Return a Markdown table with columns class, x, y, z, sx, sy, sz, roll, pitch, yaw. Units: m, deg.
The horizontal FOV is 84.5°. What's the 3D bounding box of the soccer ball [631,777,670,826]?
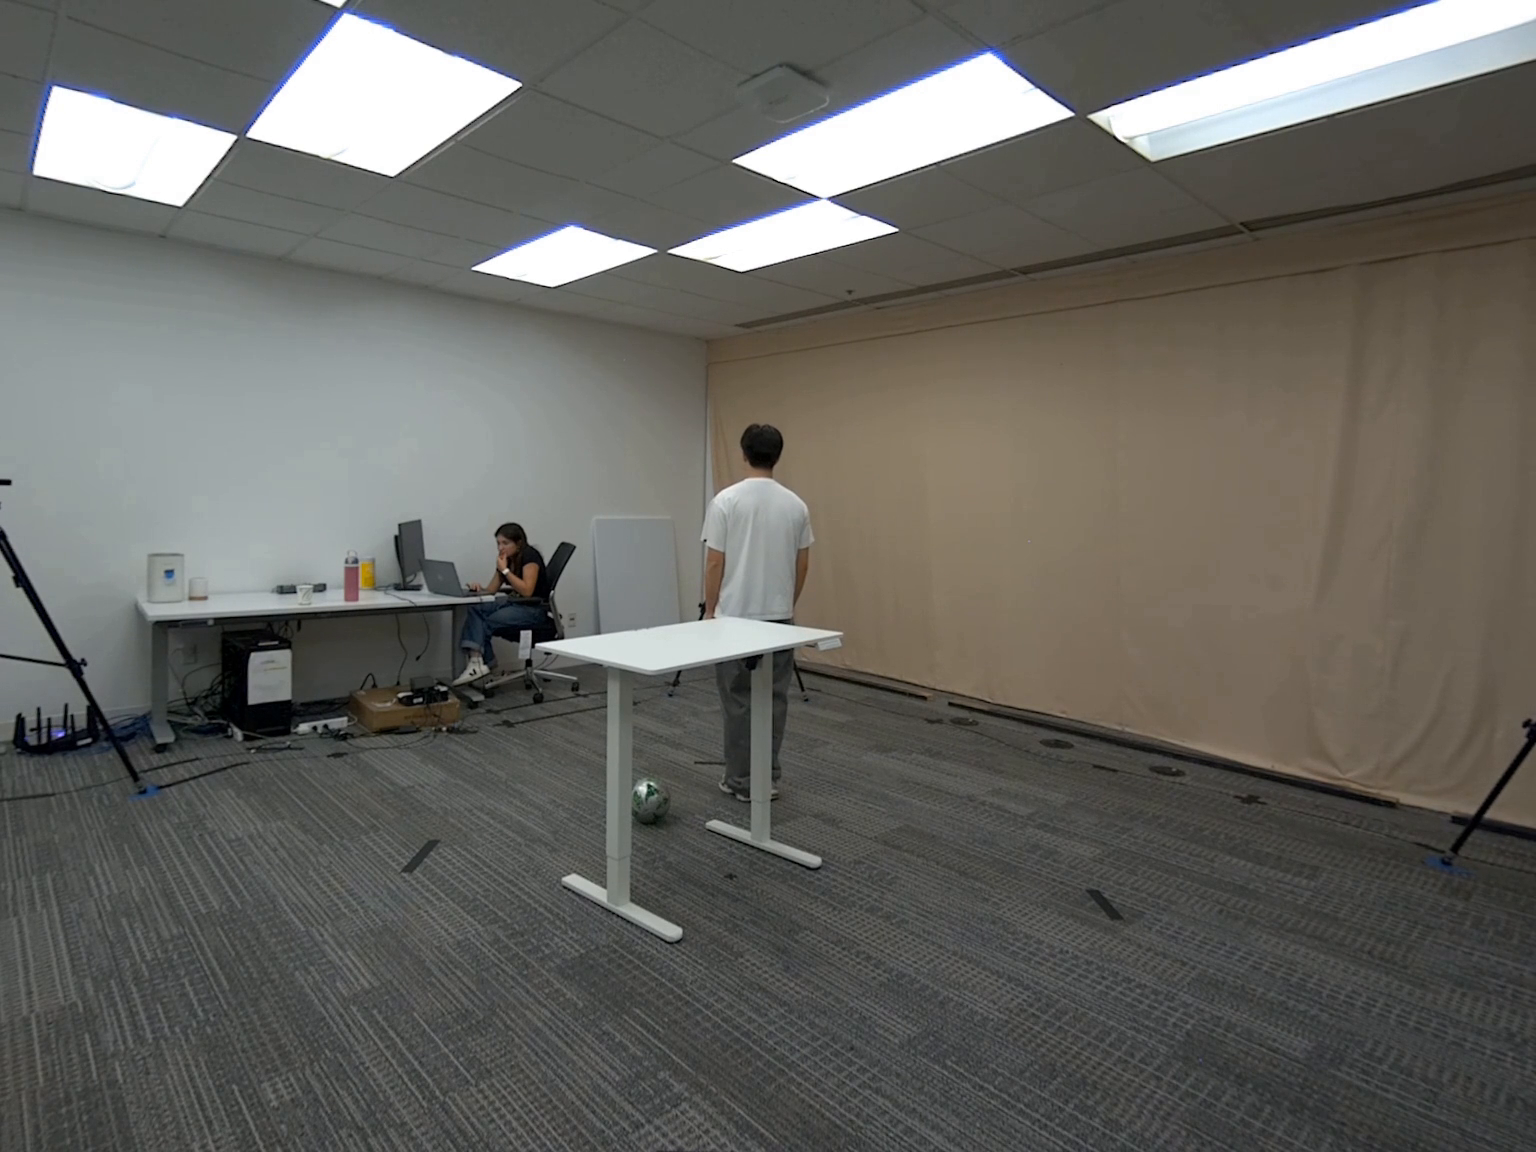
| class | x | y | z | sx | sy | sz | roll | pitch | yaw |
| --- | --- | --- | --- | --- | --- | --- | --- | --- | --- |
| soccer ball | -0.519 | 0.965 | 3.606 | 0.187 | 0.187 | 0.188 | 1 | 4 | -1 |
